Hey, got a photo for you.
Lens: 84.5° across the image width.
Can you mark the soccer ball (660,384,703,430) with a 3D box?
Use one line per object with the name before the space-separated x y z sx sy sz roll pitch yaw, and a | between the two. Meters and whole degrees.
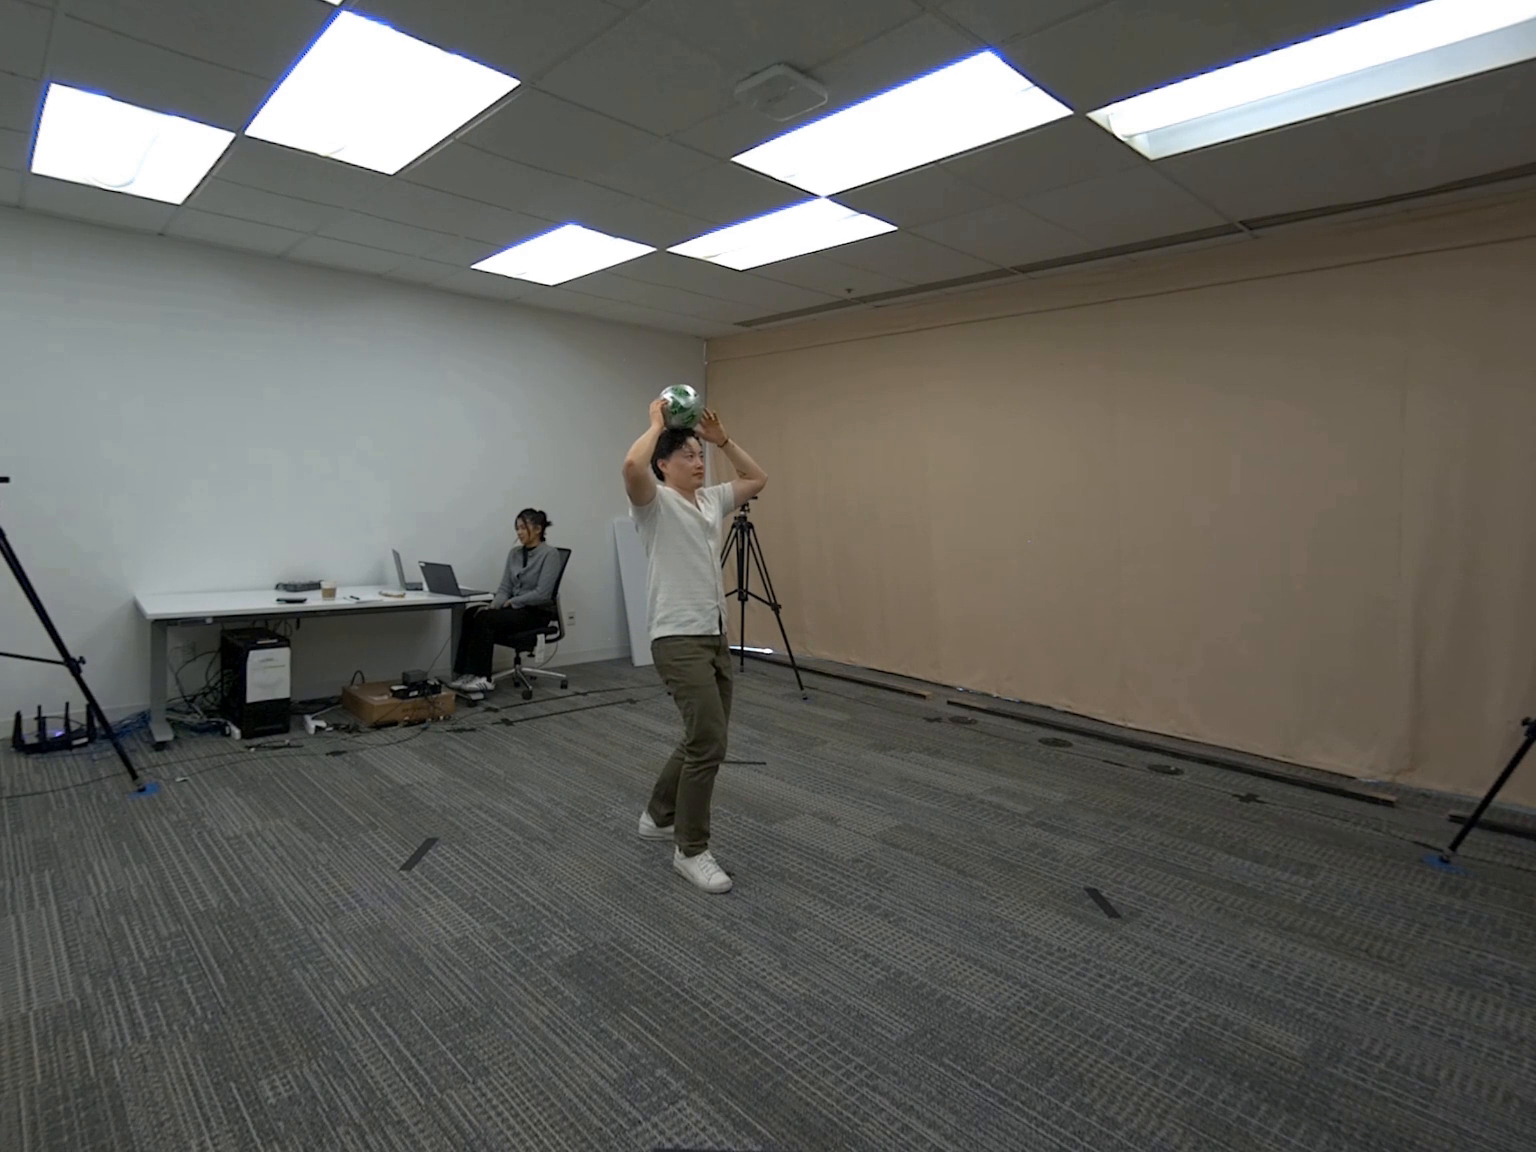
soccer ball | -0.360 -0.653 3.287 0.187 0.187 0.188 1 4 -1
